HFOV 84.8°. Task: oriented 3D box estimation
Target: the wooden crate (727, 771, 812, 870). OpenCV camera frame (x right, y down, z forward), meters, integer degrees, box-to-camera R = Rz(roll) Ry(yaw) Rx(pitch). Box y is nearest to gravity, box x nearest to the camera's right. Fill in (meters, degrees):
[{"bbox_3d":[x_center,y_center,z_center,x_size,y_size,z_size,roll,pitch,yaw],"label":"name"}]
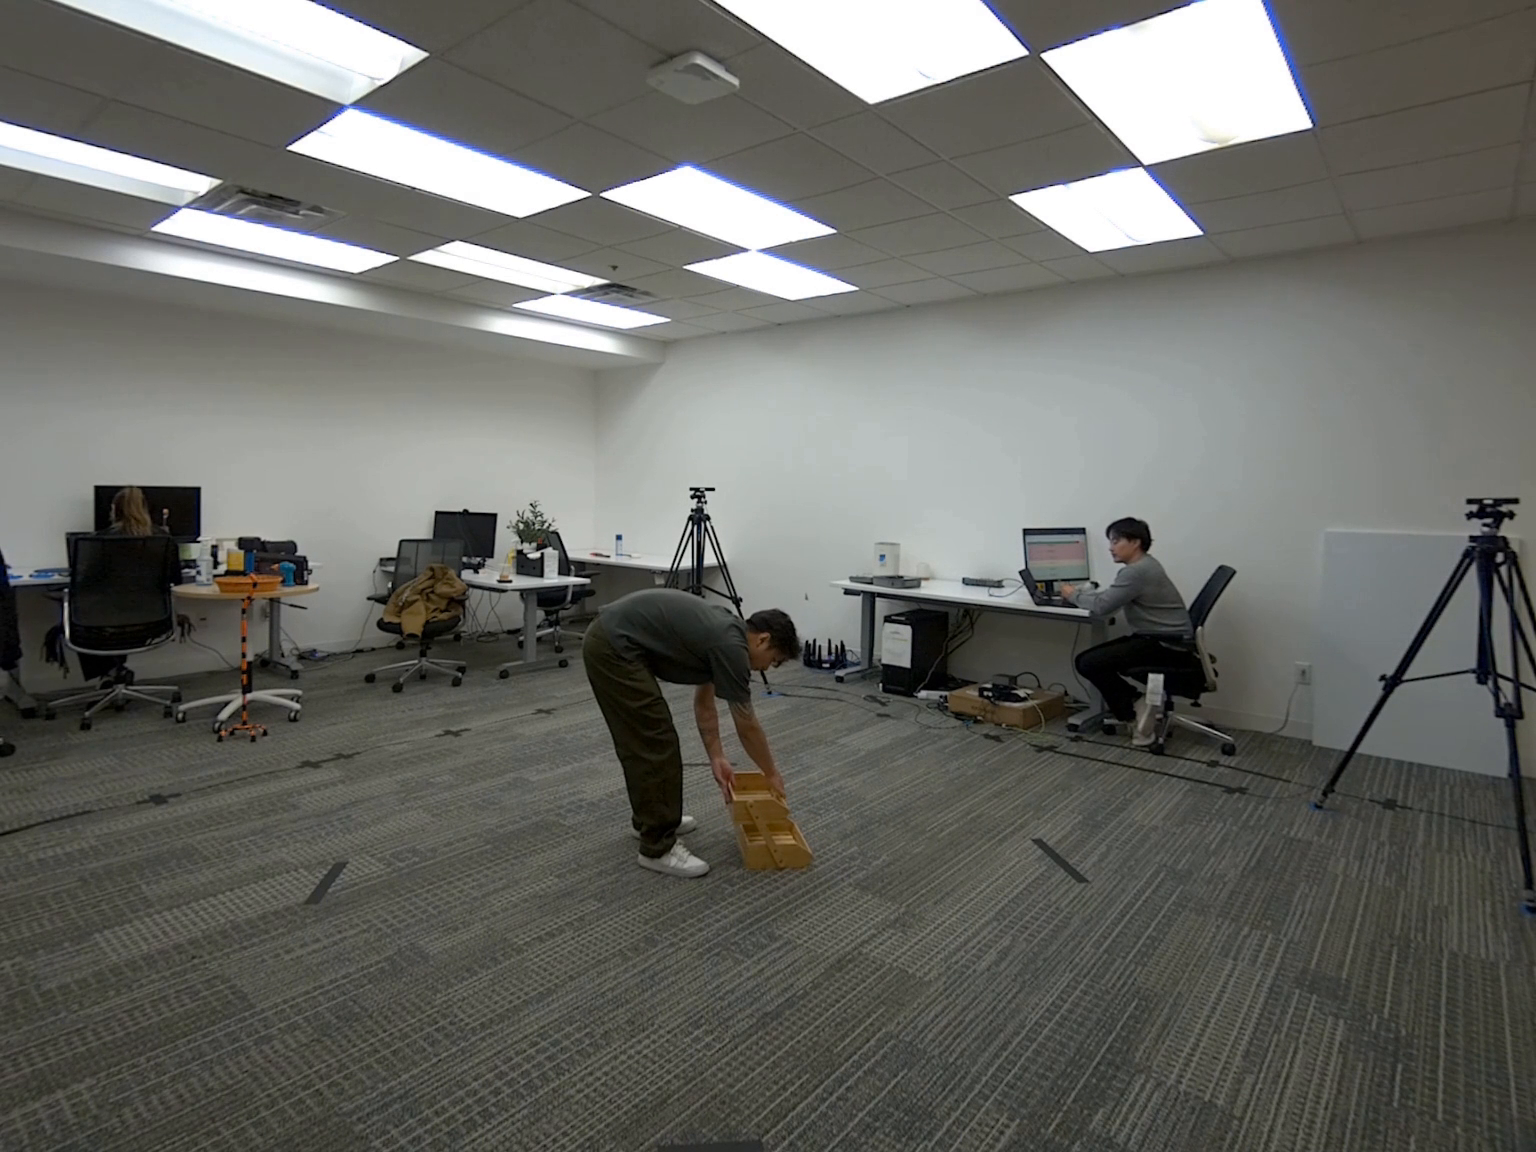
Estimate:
[{"bbox_3d":[-0.003,0.924,3.261,0.299,0.272,0.329,1,5,-10],"label":"wooden crate"}]
